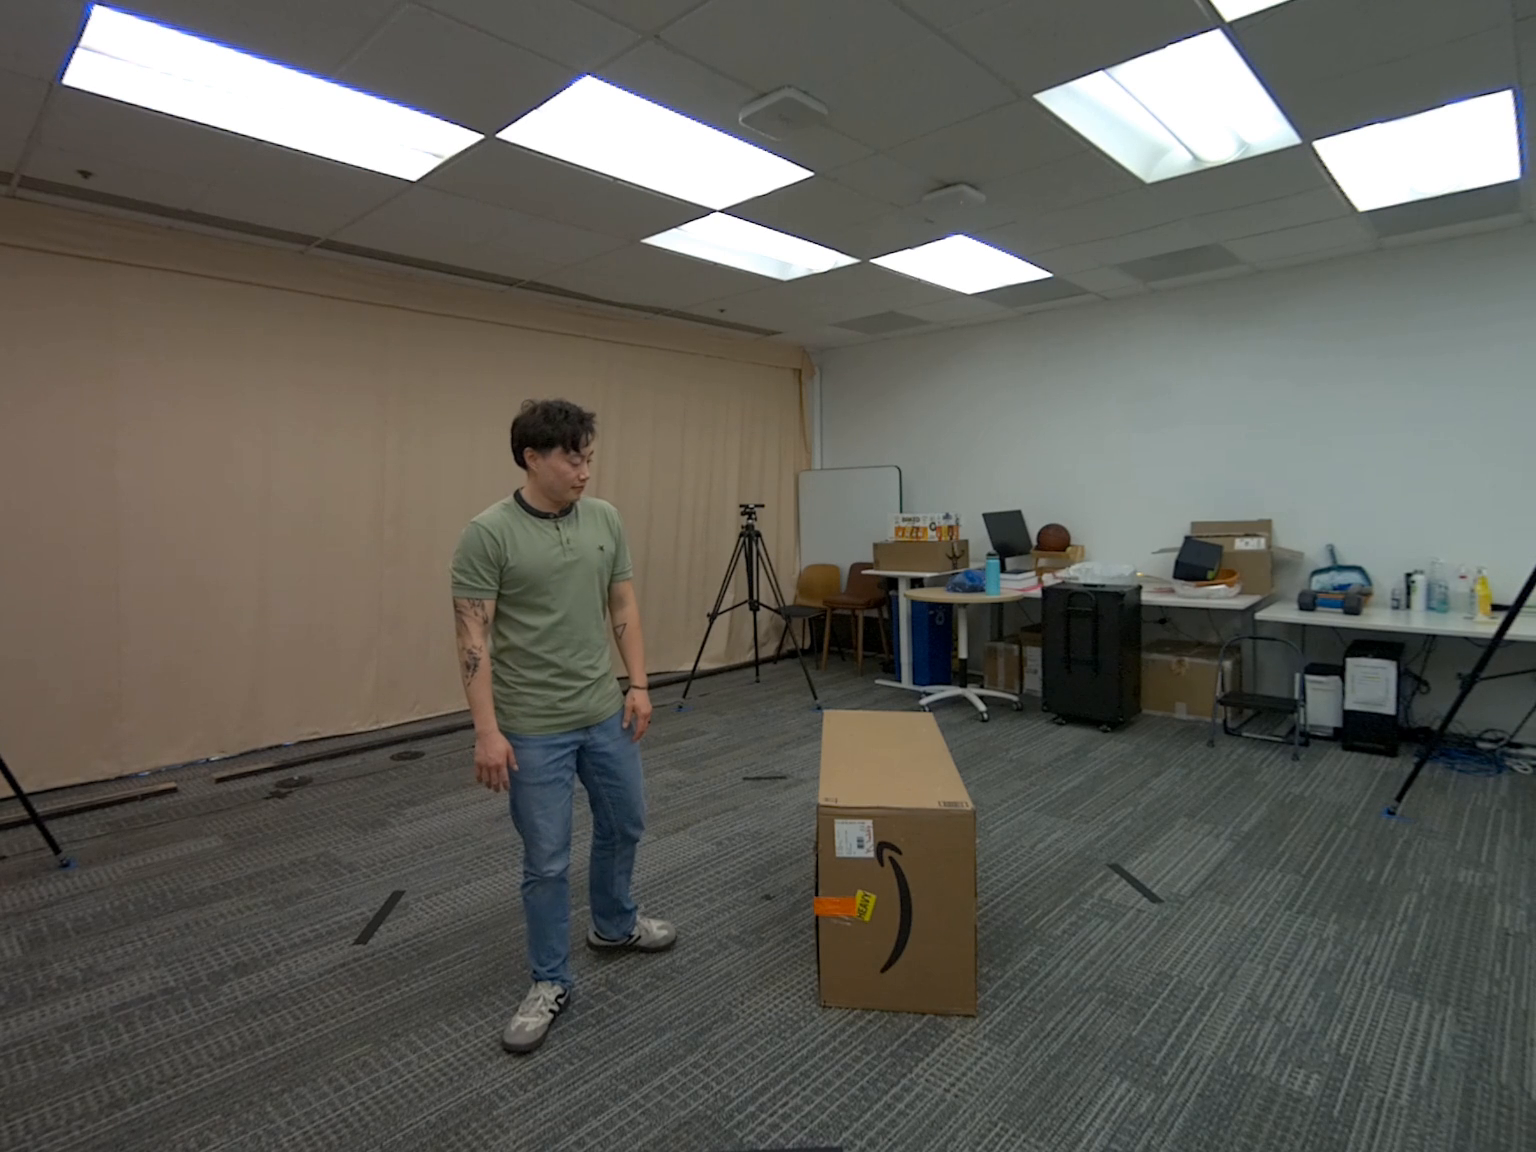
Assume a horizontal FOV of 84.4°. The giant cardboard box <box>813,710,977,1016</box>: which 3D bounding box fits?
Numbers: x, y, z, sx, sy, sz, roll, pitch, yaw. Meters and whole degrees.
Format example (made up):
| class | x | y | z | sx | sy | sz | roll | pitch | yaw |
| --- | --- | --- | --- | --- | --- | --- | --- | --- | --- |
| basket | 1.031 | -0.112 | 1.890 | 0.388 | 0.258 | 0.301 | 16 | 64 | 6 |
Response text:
| class | x | y | z | sx | sy | sz | roll | pitch | yaw |
| --- | --- | --- | --- | --- | --- | --- | --- | --- | --- |
| giant cardboard box | 0.390 | 0.858 | 2.789 | 0.429 | 0.576 | 1.021 | -1 | 5 | 5 |
